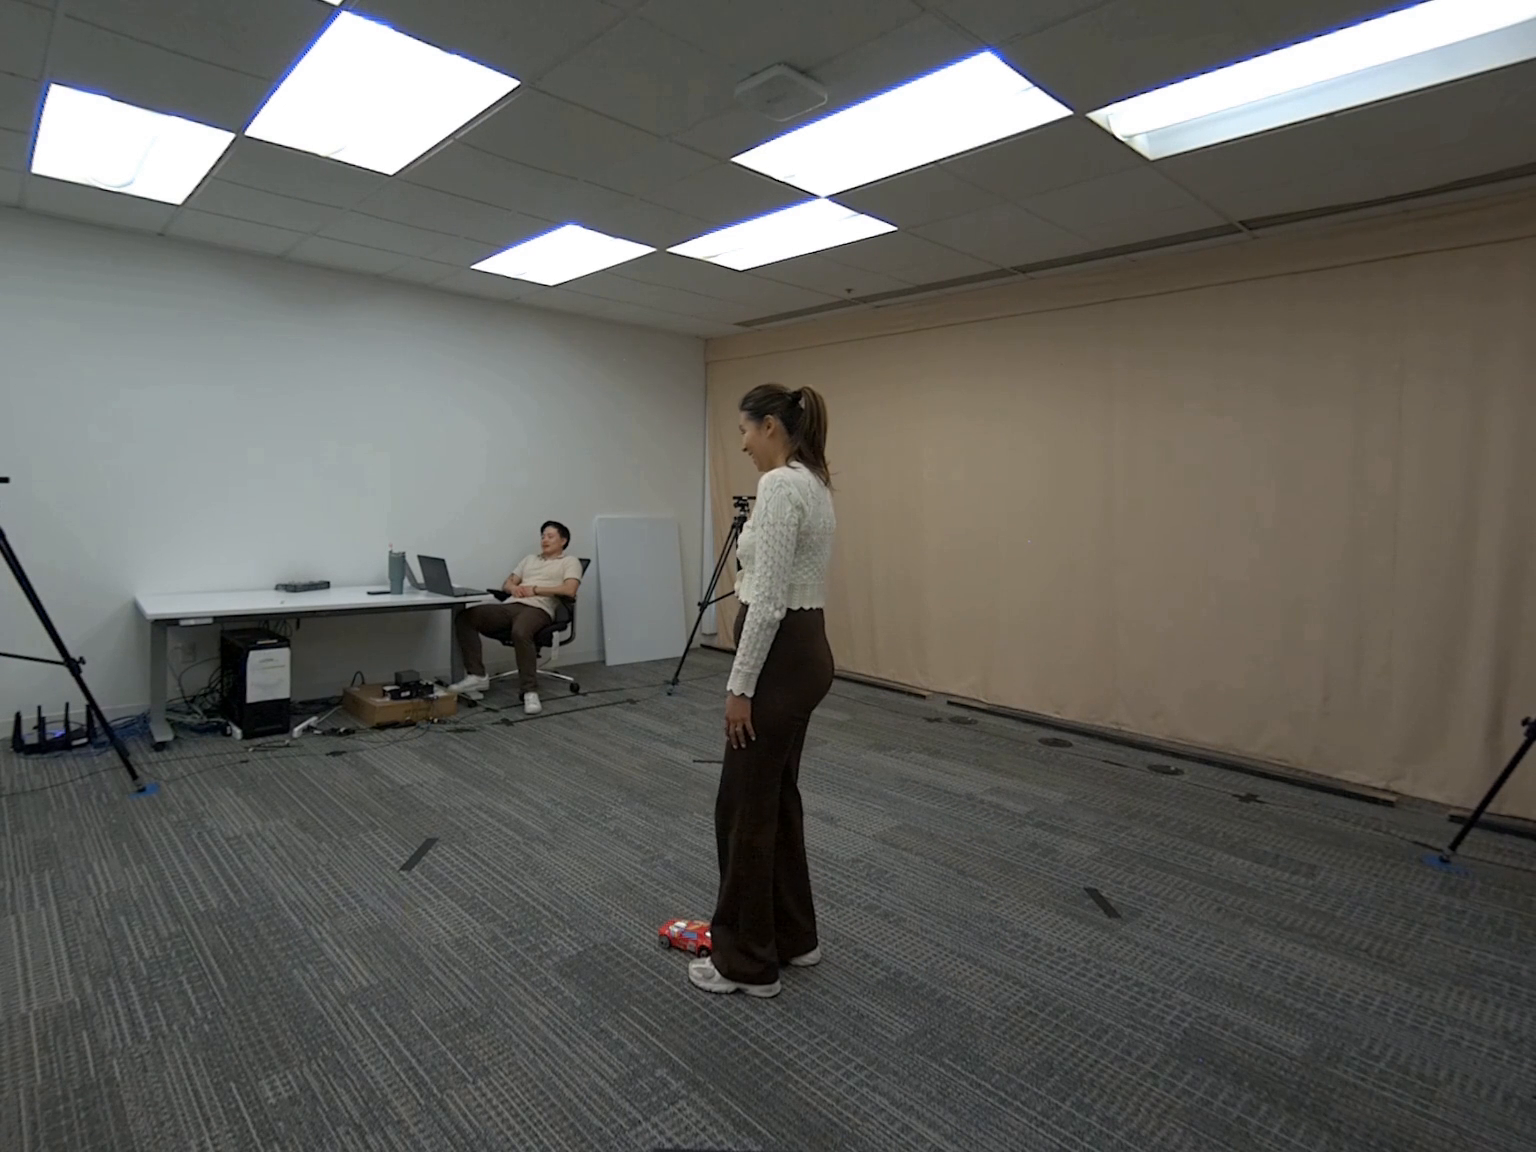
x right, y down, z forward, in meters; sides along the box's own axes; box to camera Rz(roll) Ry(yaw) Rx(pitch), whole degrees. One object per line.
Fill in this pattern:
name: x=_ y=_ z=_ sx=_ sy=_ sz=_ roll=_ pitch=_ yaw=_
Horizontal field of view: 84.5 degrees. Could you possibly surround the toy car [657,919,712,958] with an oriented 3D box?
toy car: x=-0.214 y=1.119 z=2.586 sx=0.259 sy=0.083 sz=0.128 roll=-7 pitch=0 yaw=29
